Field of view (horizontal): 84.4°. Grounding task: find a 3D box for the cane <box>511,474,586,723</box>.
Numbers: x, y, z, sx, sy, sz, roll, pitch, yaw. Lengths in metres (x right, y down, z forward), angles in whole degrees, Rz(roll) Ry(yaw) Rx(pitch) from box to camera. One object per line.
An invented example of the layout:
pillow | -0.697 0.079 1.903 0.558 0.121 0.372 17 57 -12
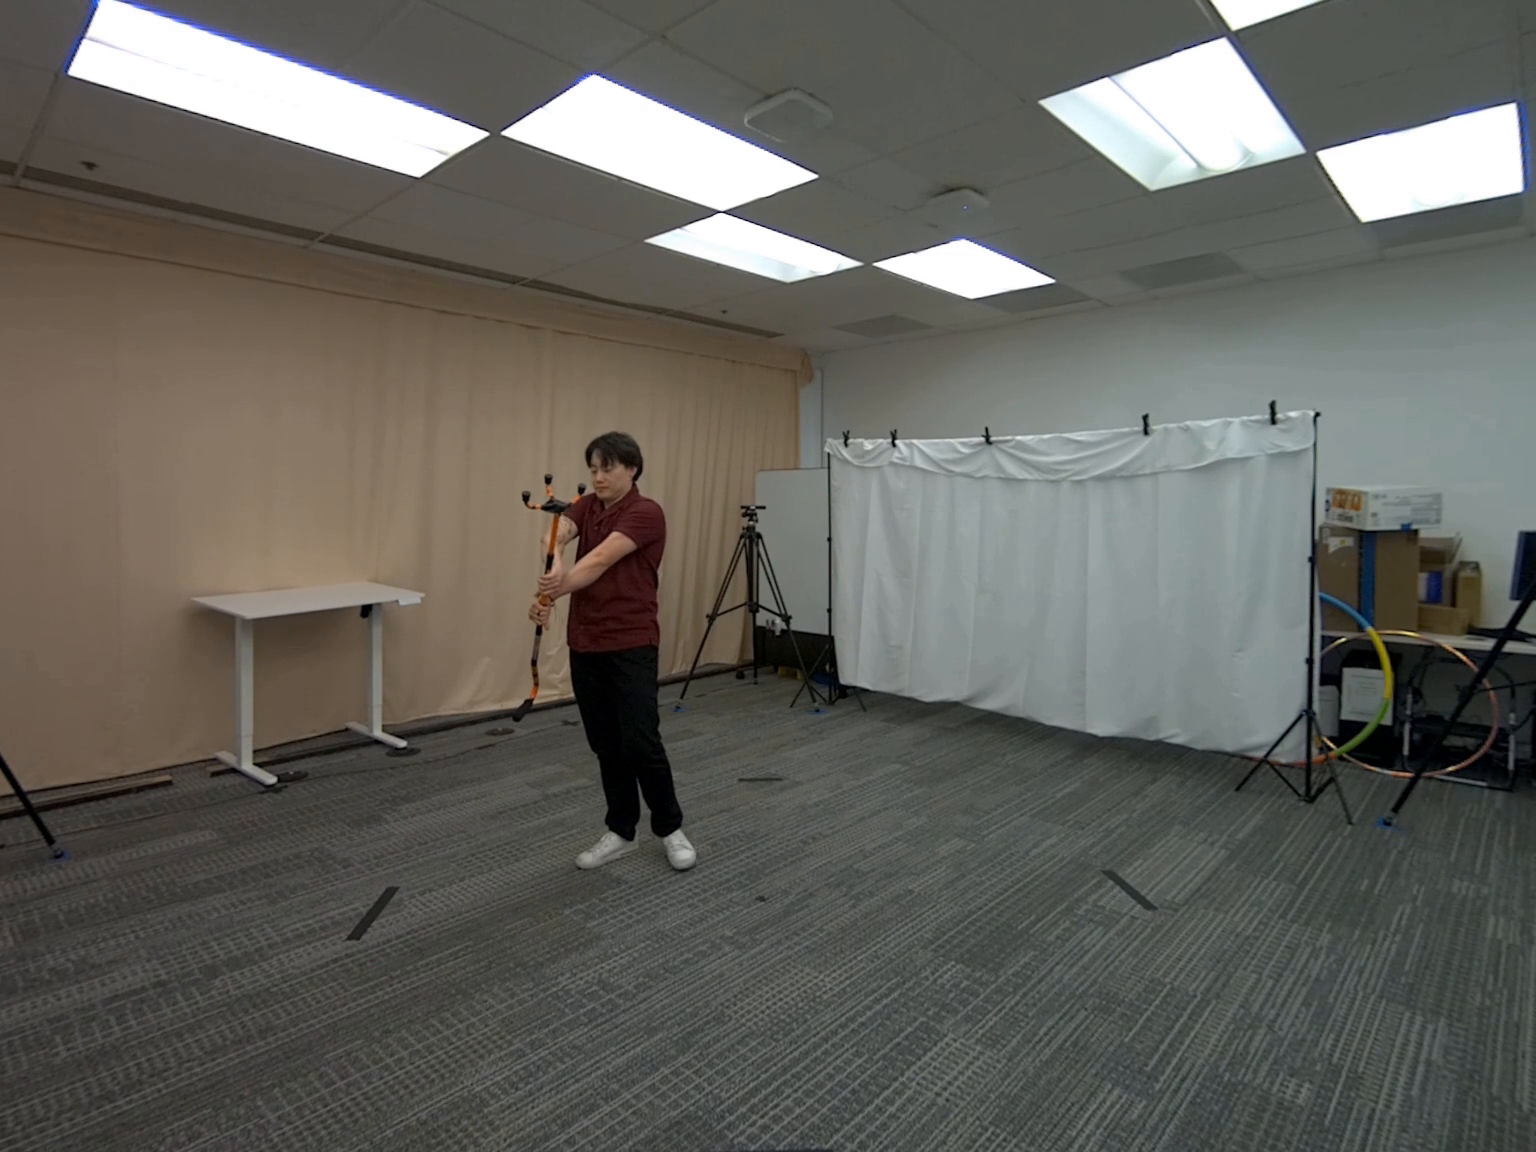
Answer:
cane | -0.810 0.104 2.995 0.153 0.900 0.207 17 27 4
